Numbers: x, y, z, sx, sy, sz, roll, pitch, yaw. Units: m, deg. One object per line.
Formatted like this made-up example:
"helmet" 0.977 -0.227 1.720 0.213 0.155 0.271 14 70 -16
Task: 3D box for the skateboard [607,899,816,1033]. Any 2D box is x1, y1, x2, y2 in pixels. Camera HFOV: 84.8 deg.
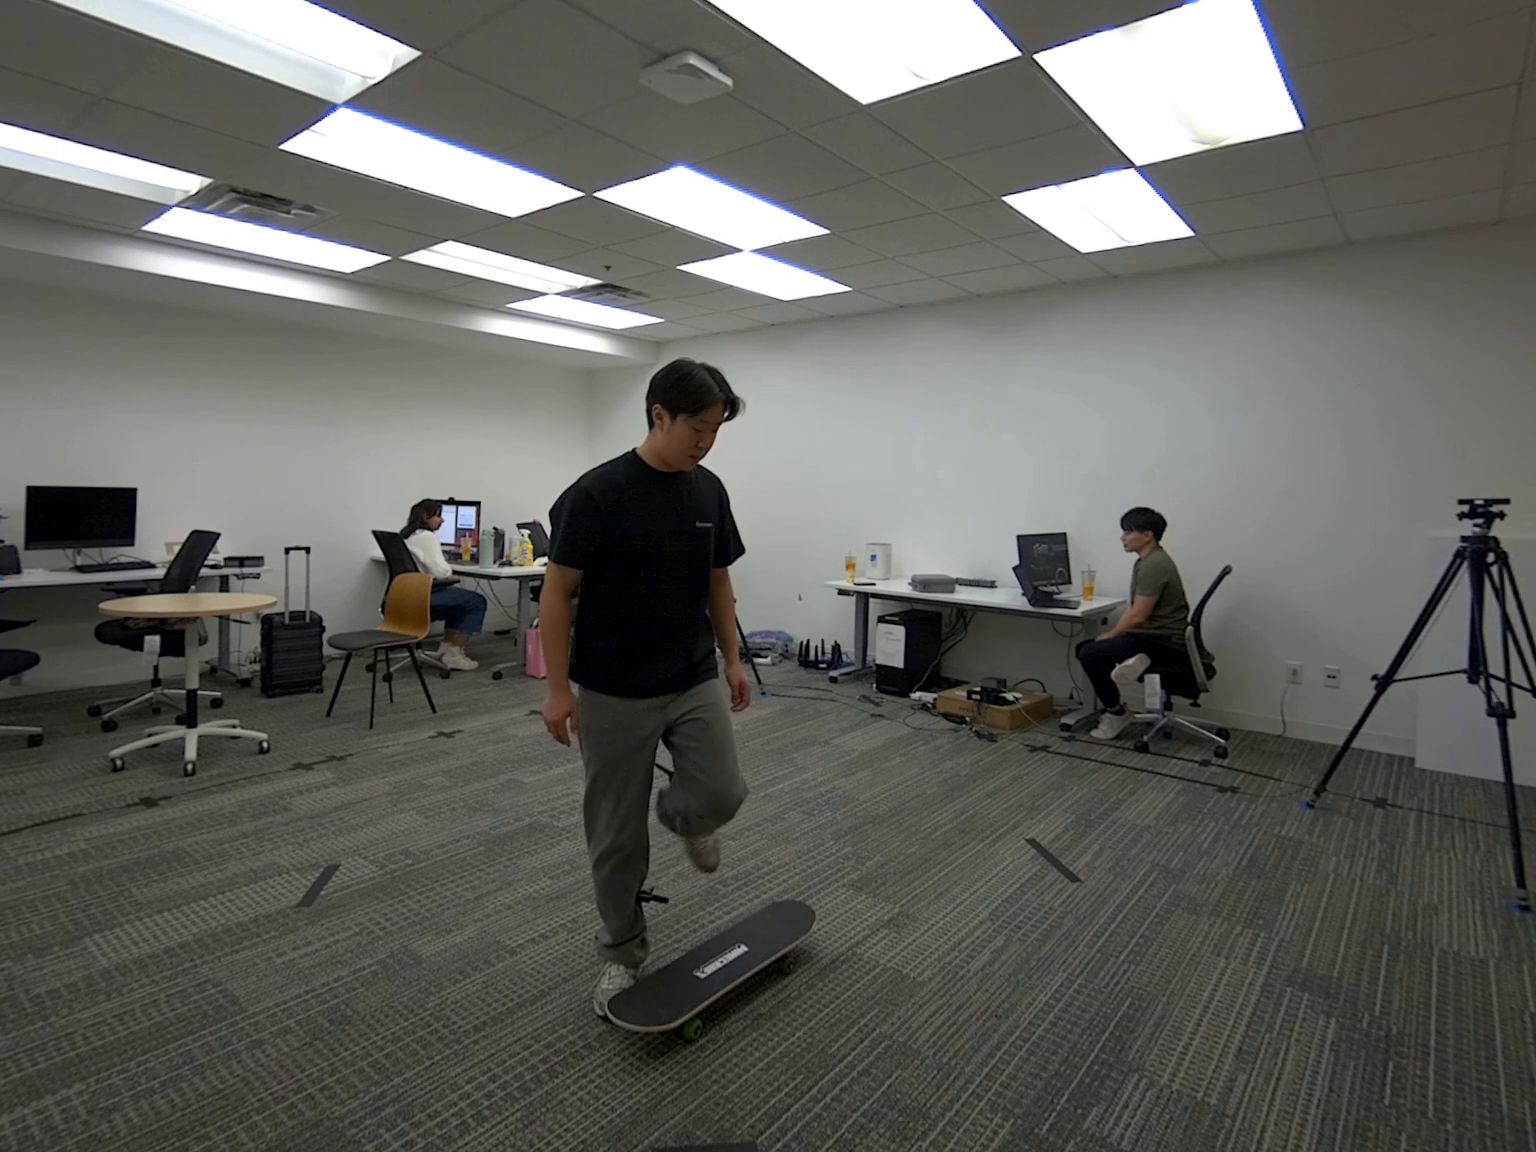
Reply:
"skateboard" -0.135 1.090 2.352 0.200 0.110 0.763 6 8 39
